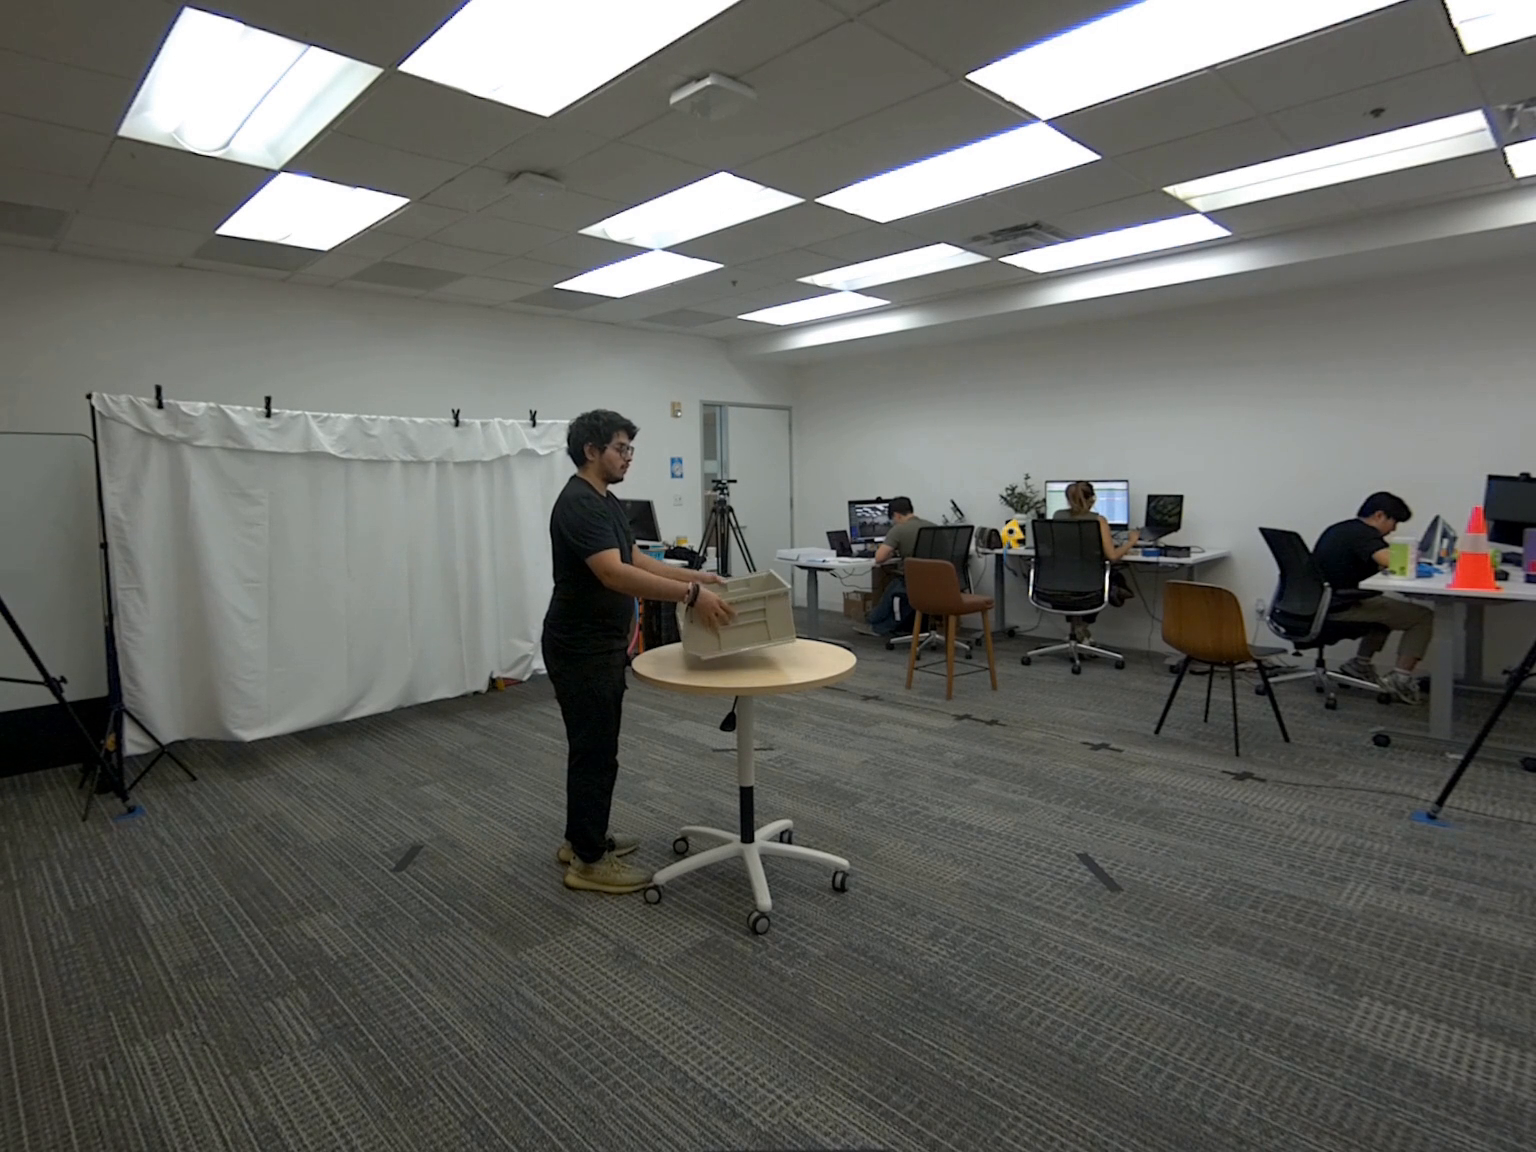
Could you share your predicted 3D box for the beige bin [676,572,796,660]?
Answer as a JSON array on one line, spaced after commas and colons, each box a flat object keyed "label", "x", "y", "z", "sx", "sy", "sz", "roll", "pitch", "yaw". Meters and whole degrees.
[{"label": "beige bin", "x": -0.122, "y": 0.119, "z": 2.933, "sx": 0.375, "sy": 0.188, "sz": 0.427, "roll": -6, "pitch": 7, "yaw": -7}]
